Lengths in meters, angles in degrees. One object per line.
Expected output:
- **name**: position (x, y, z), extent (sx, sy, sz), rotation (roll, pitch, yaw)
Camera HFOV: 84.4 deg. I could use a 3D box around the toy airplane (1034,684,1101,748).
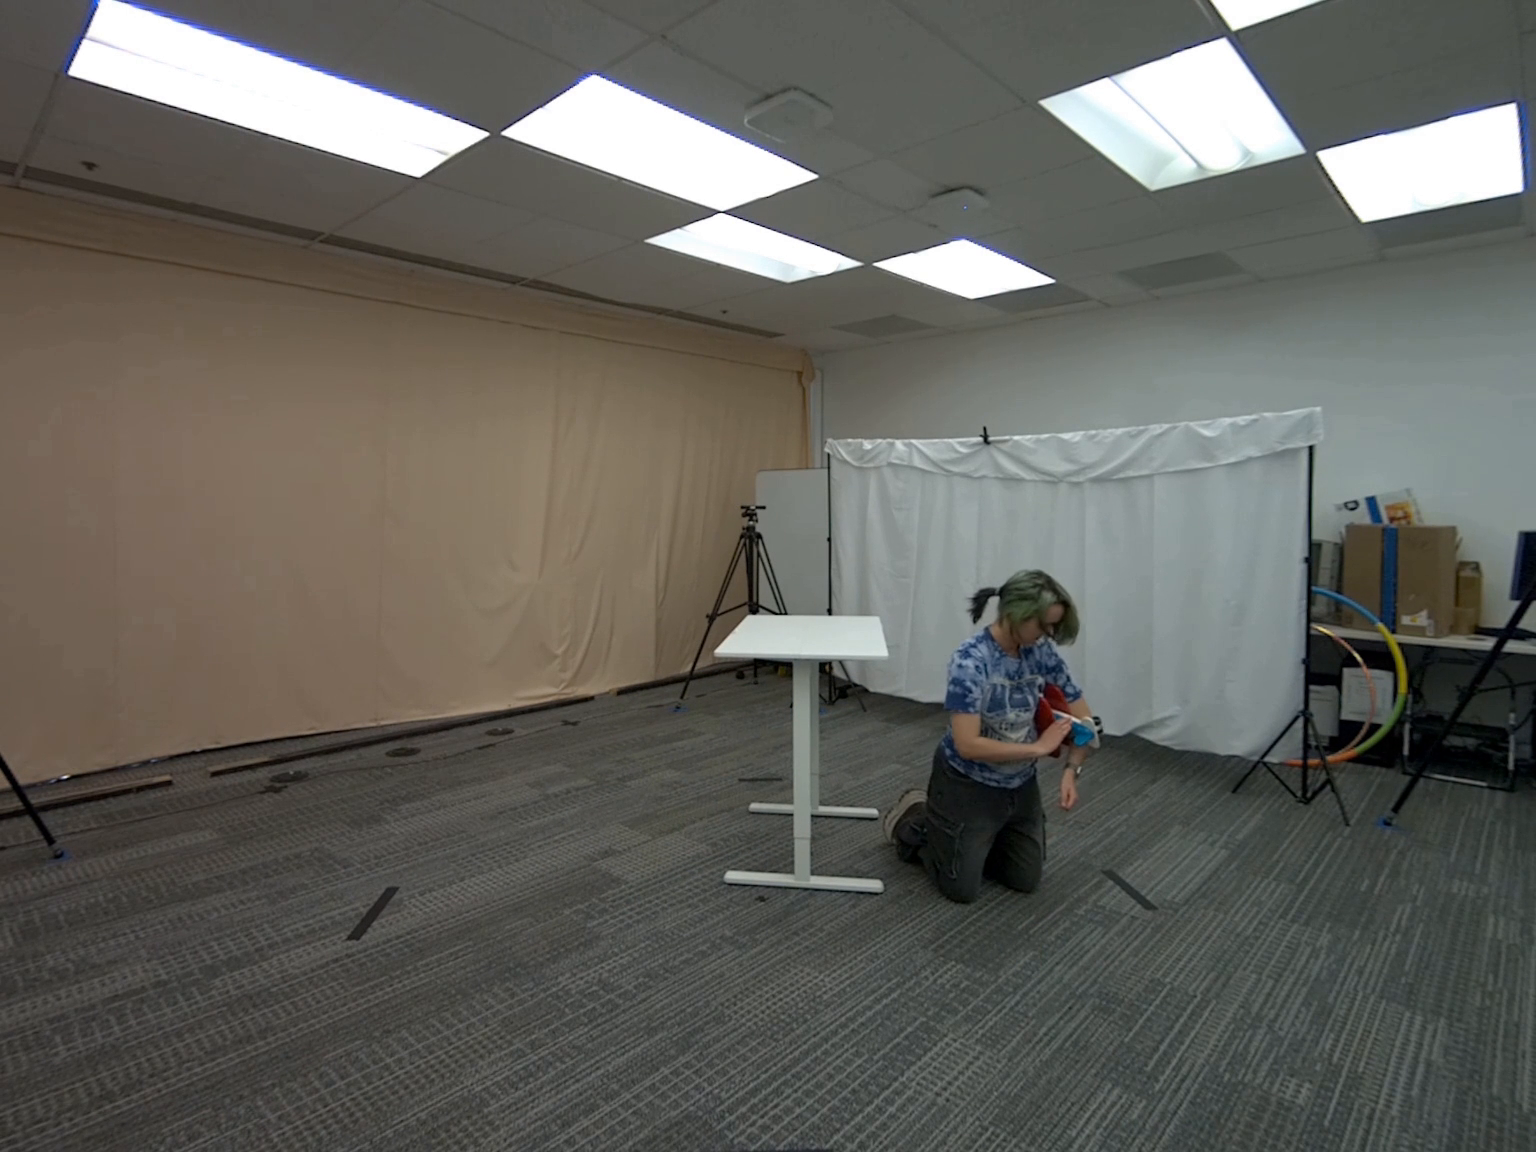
- **toy airplane**: position (1.034, 0.501, 2.927), extent (0.155, 0.253, 0.260), rotation (-25, -8, -16)
